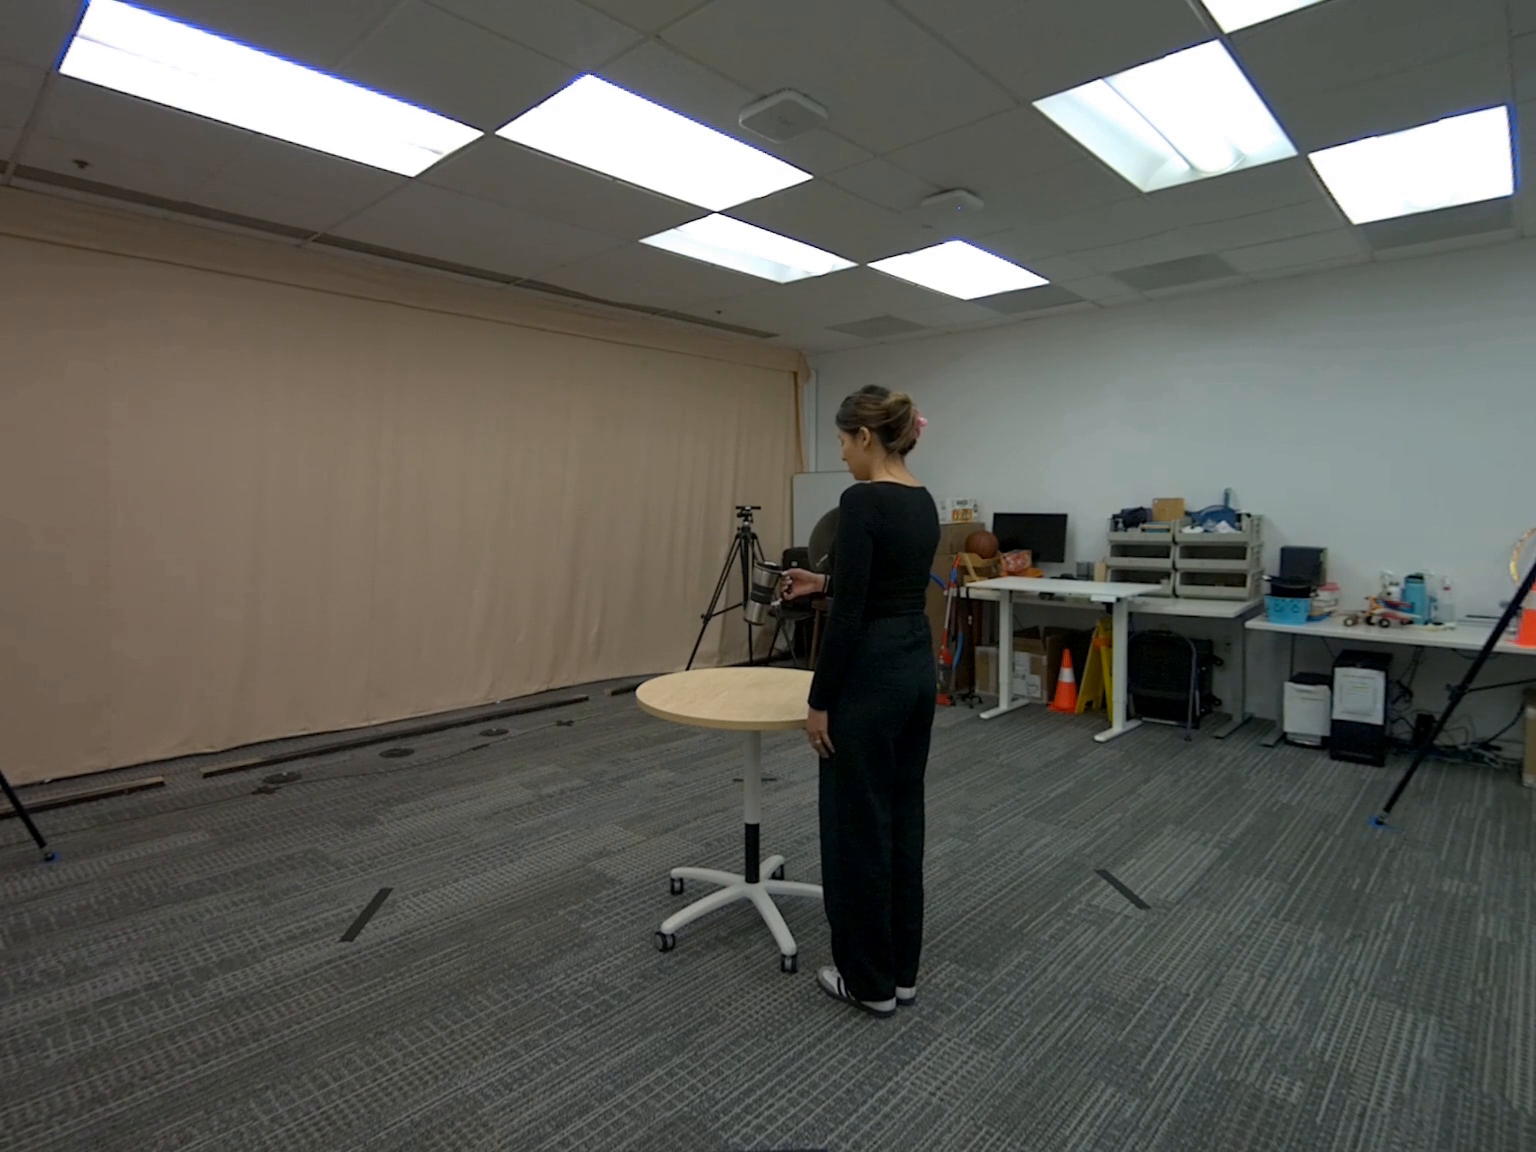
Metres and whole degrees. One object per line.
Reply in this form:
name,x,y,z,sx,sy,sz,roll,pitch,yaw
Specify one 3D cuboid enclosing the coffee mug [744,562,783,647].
coffee mug,-0.005,0.079,2.648,0.086,0.202,0.125,10,9,-22
